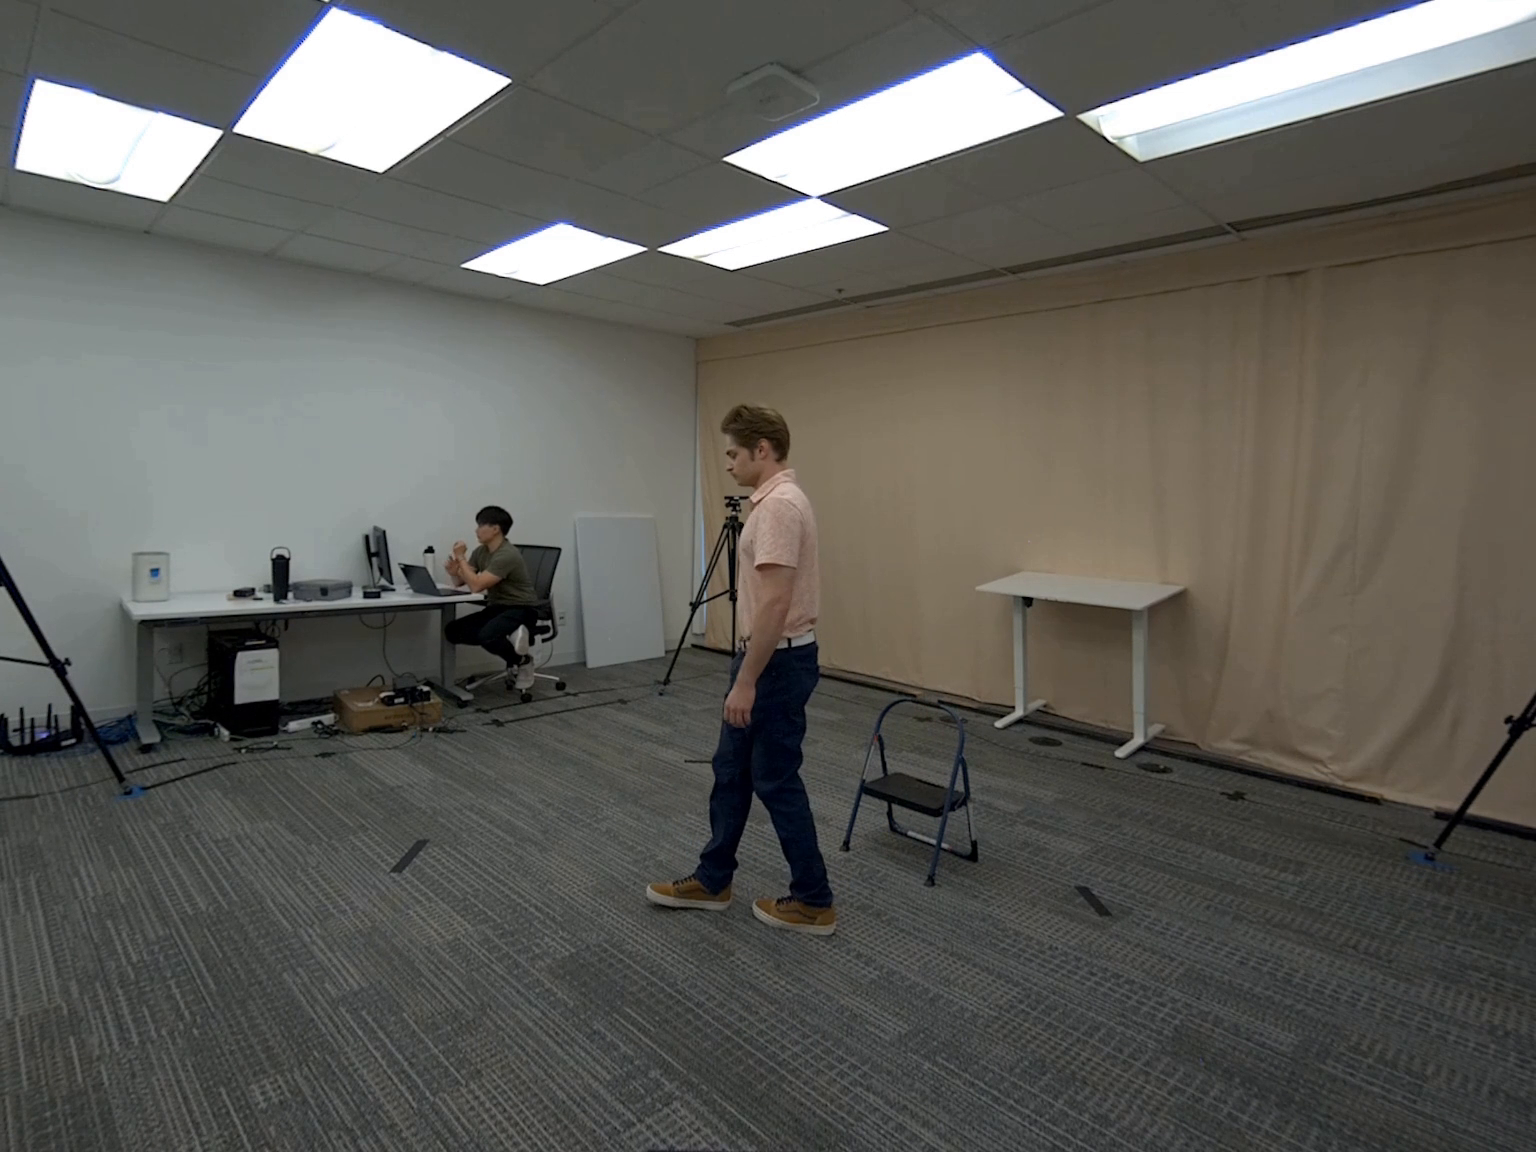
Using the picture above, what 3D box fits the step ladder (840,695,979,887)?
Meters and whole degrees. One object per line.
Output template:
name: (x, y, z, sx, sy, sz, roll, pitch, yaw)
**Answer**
step ladder: (0.559, 0.801, 3.305, 0.341, 0.604, 0.442, -1, 5, -45)
